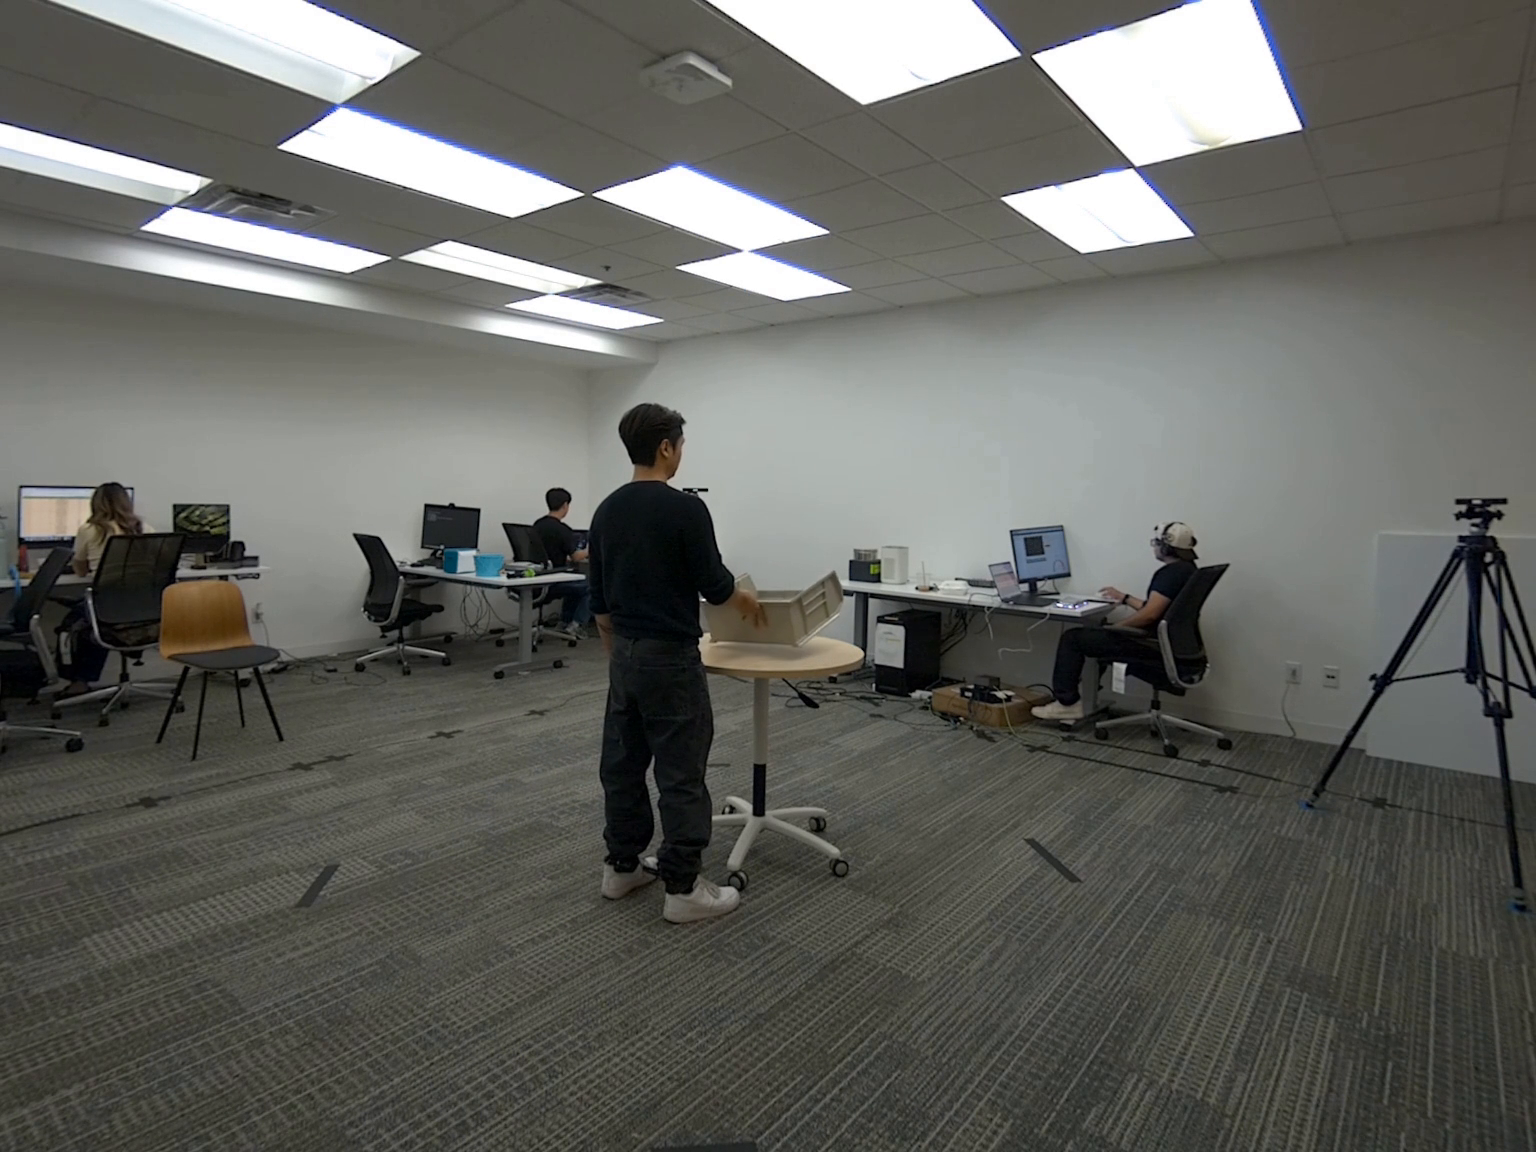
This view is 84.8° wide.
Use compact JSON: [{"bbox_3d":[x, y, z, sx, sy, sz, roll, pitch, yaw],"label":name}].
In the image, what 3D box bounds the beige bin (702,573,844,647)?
[{"bbox_3d":[0.012,0.111,3.259,0.435,0.186,0.372,-1,19,35],"label":"beige bin"}]
